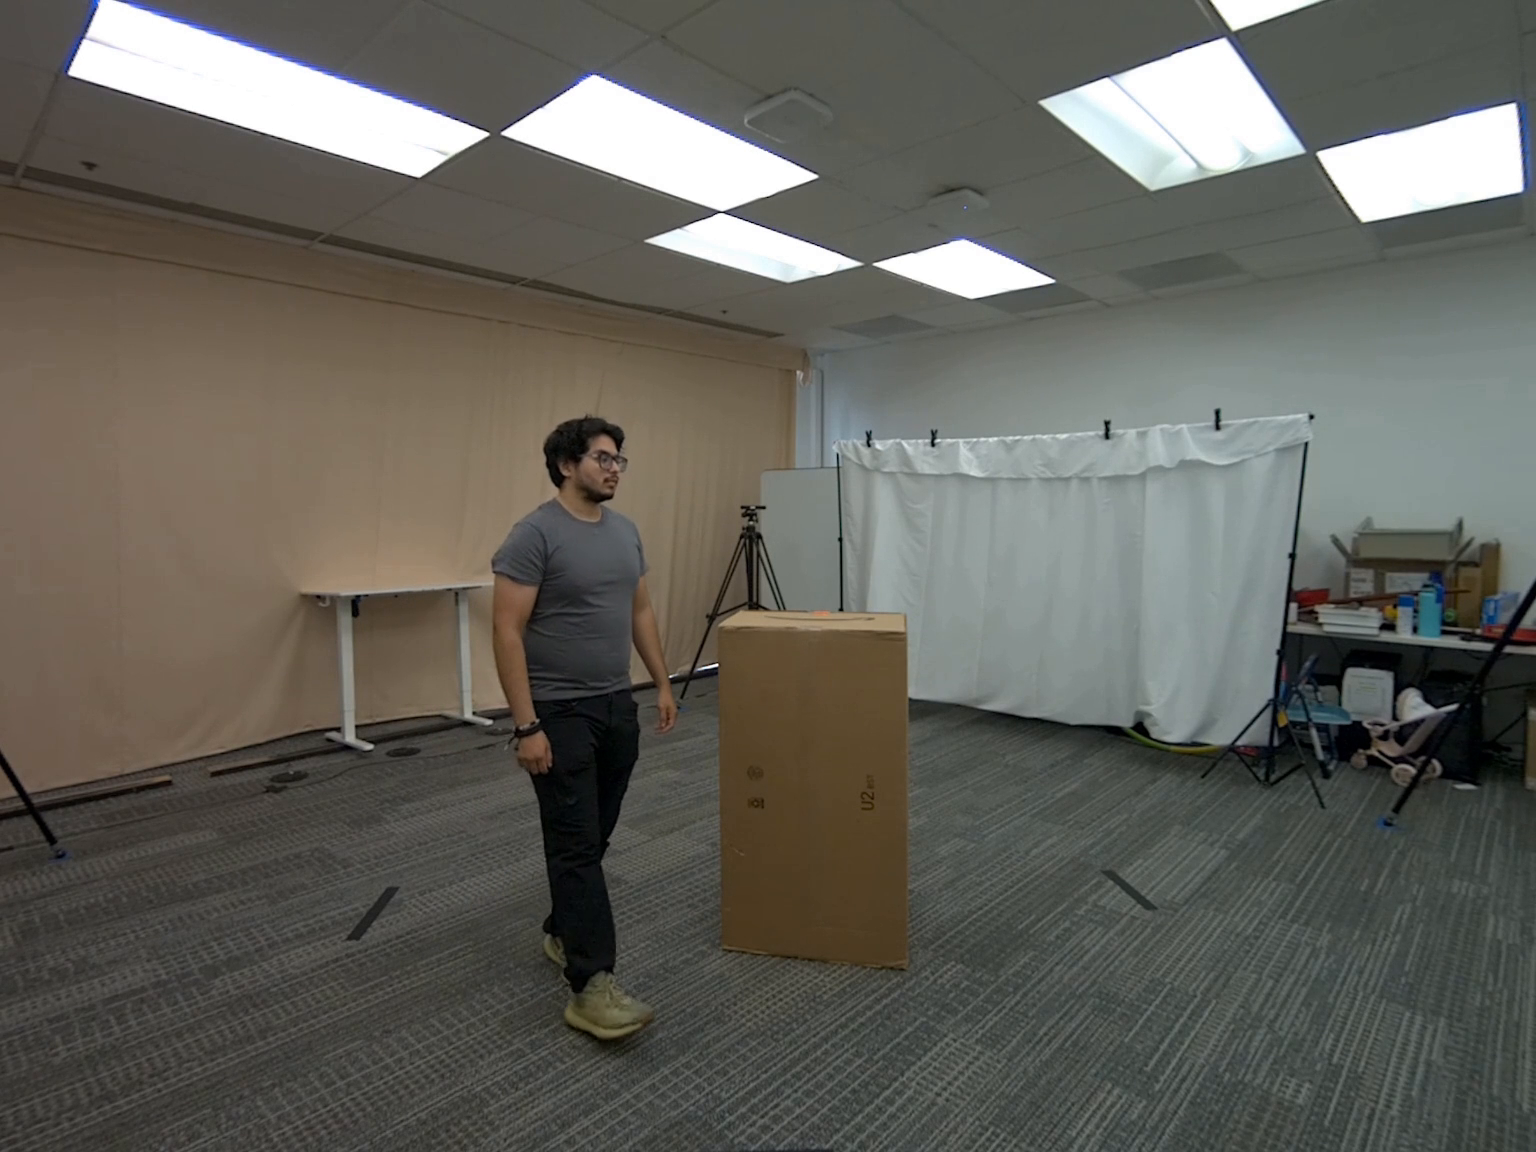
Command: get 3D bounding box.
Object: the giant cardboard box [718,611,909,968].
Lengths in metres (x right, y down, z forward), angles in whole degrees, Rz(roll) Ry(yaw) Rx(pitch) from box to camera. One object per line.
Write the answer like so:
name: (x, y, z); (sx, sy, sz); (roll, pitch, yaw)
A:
giant cardboard box: (0.165, 0.649, 2.766); (0.586, 1.024, 0.421); (0, 3, 12)
